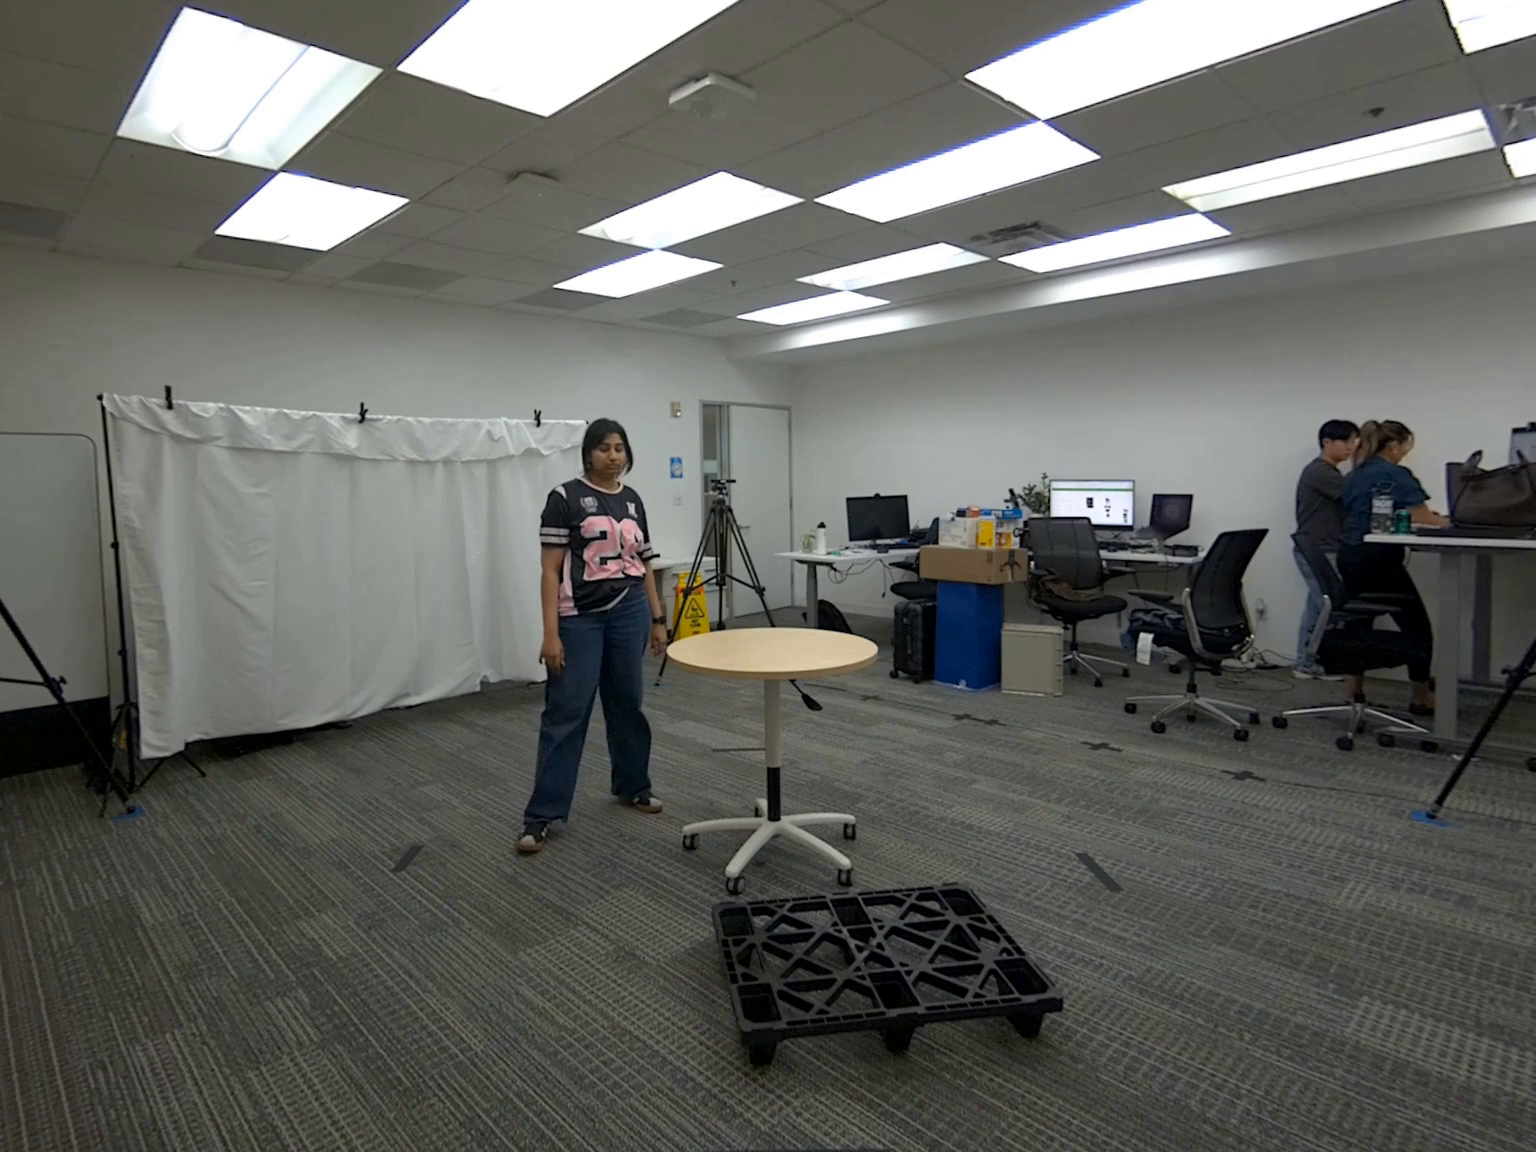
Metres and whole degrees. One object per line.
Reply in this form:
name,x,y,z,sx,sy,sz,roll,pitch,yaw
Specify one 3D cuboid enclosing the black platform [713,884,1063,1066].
black platform,0.278,1.066,2.315,0.800,0.143,0.612,-2,6,-8
